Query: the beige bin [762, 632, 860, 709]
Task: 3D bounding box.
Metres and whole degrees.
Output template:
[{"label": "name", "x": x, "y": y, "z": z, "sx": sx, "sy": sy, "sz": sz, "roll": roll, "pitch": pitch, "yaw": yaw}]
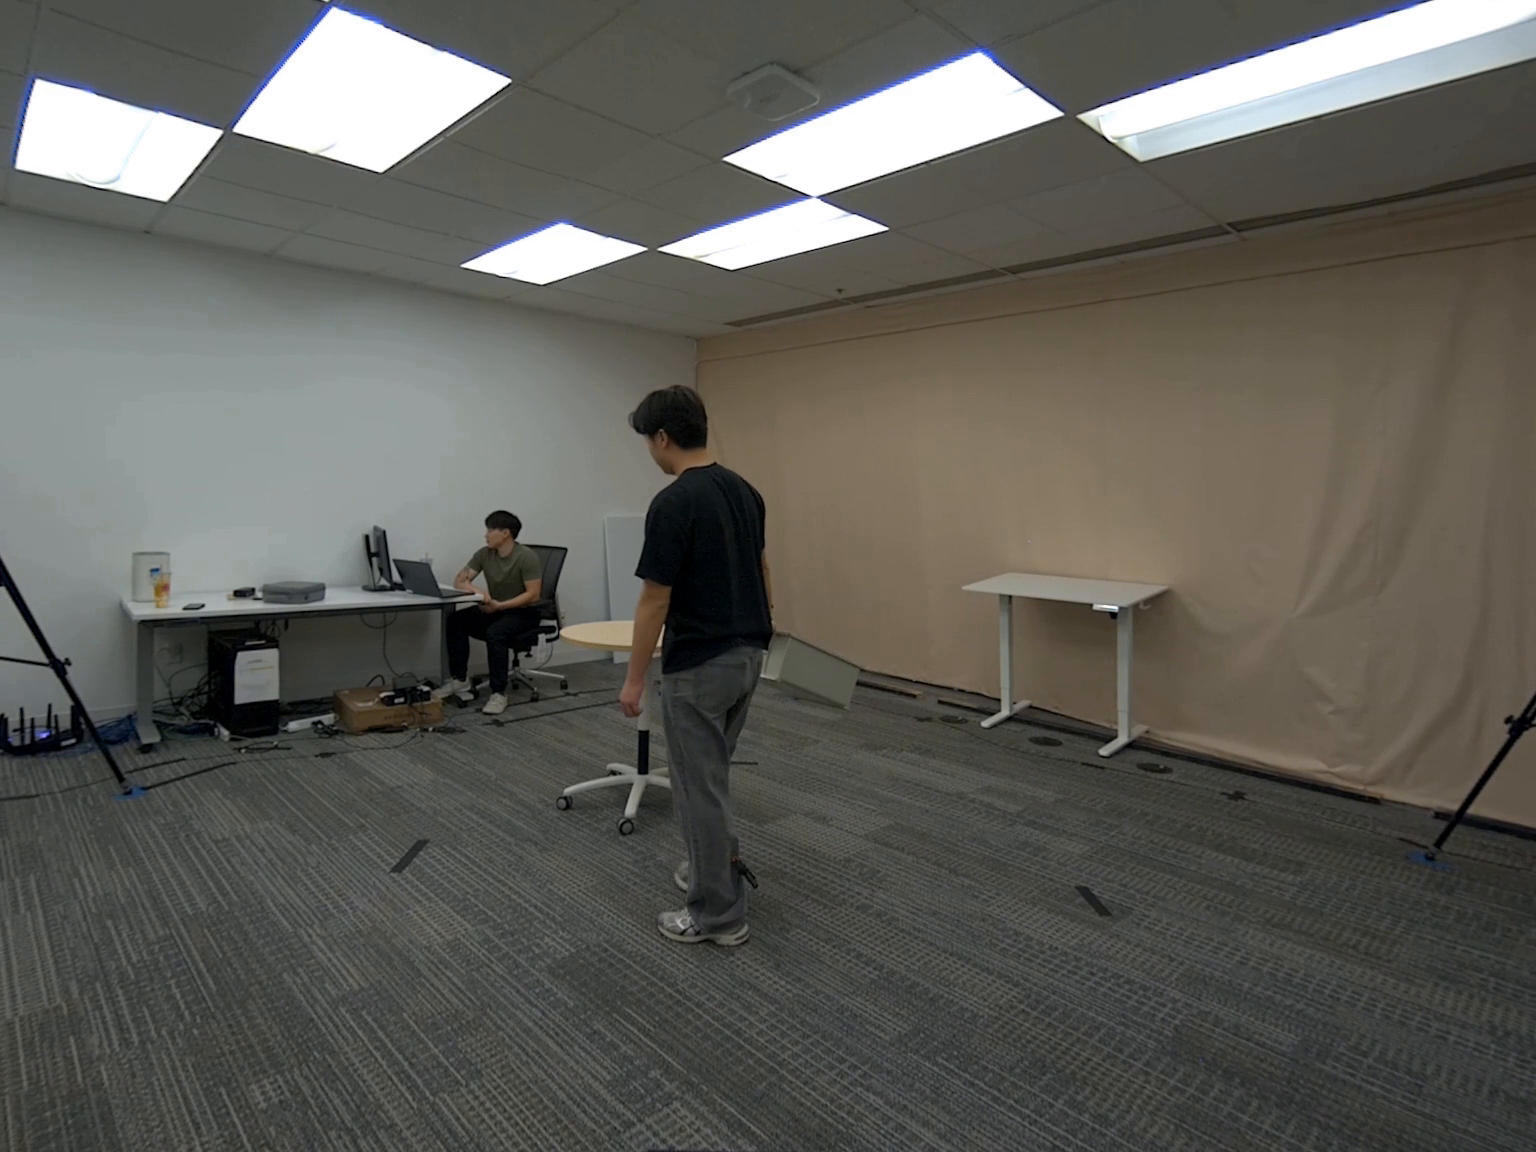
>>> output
[{"label": "beige bin", "x": 0.077, "y": 0.351, "z": 3.239, "sx": 0.410, "sy": 0.190, "sz": 0.387, "roll": 26, "pitch": -13, "yaw": -37}]
